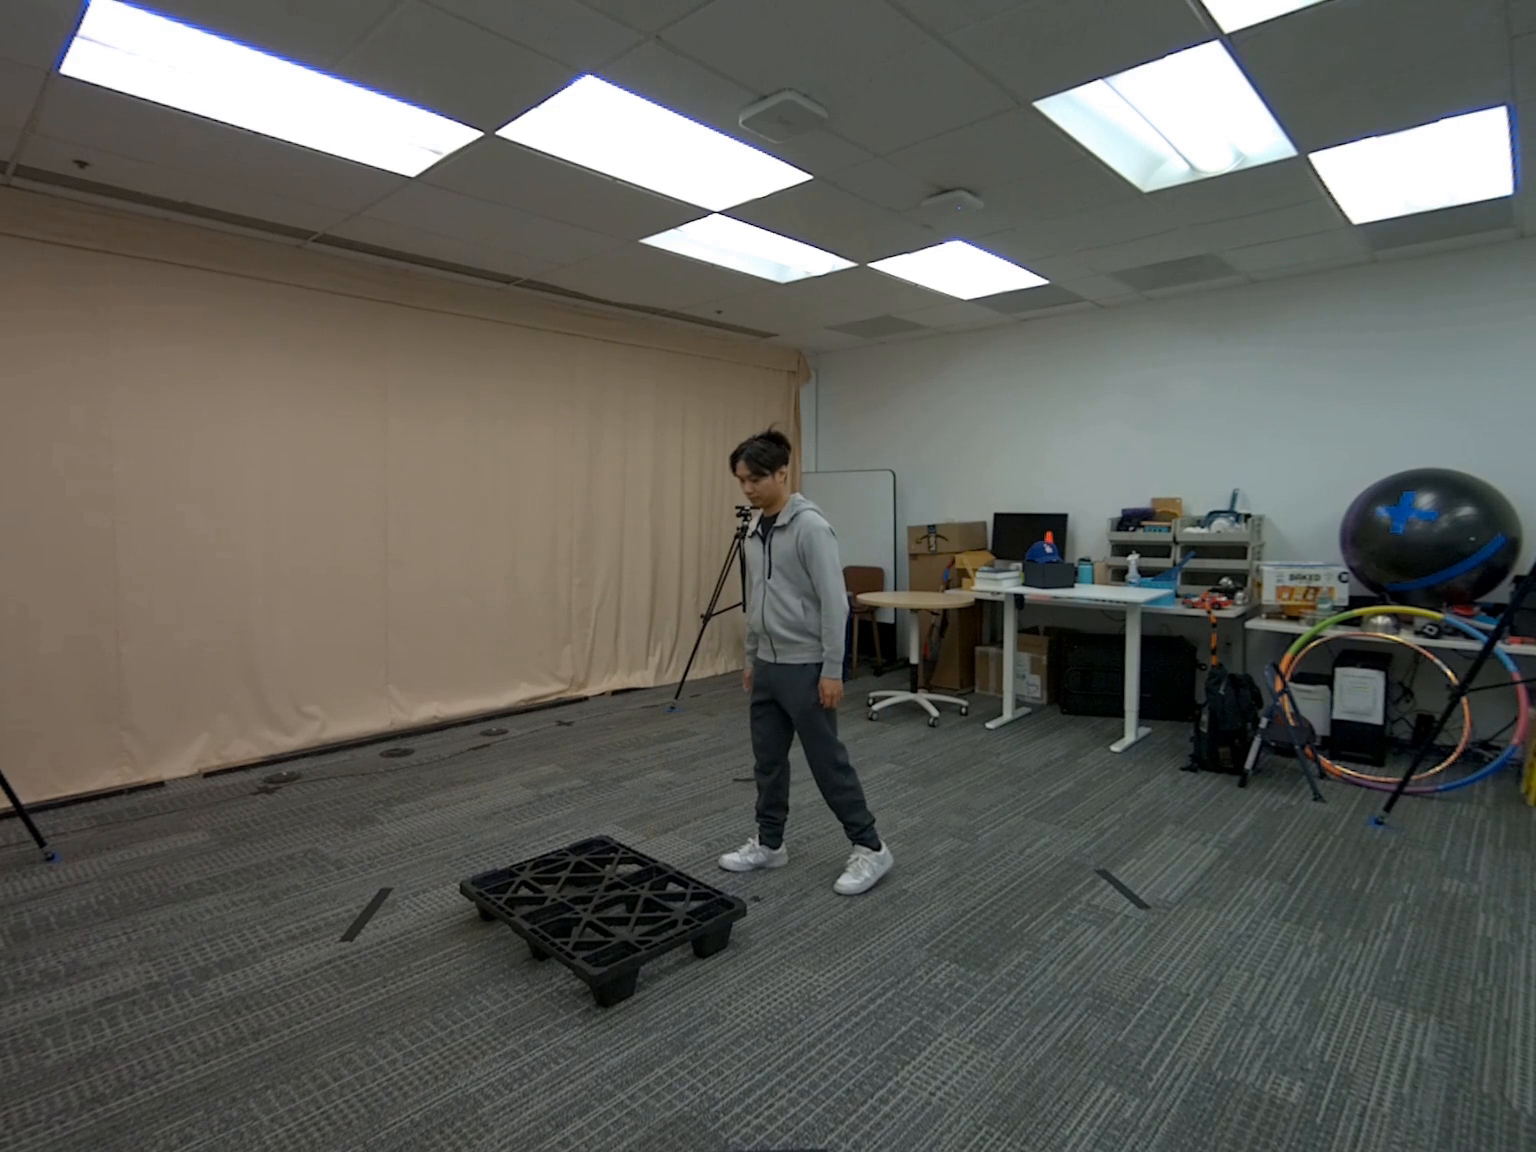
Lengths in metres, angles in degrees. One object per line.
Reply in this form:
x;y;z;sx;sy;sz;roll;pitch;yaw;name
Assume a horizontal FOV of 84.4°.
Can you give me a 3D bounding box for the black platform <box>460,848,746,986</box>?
-0.555;1.100;2.759;0.586;0.143;0.832;-5;6;-45;black platform
